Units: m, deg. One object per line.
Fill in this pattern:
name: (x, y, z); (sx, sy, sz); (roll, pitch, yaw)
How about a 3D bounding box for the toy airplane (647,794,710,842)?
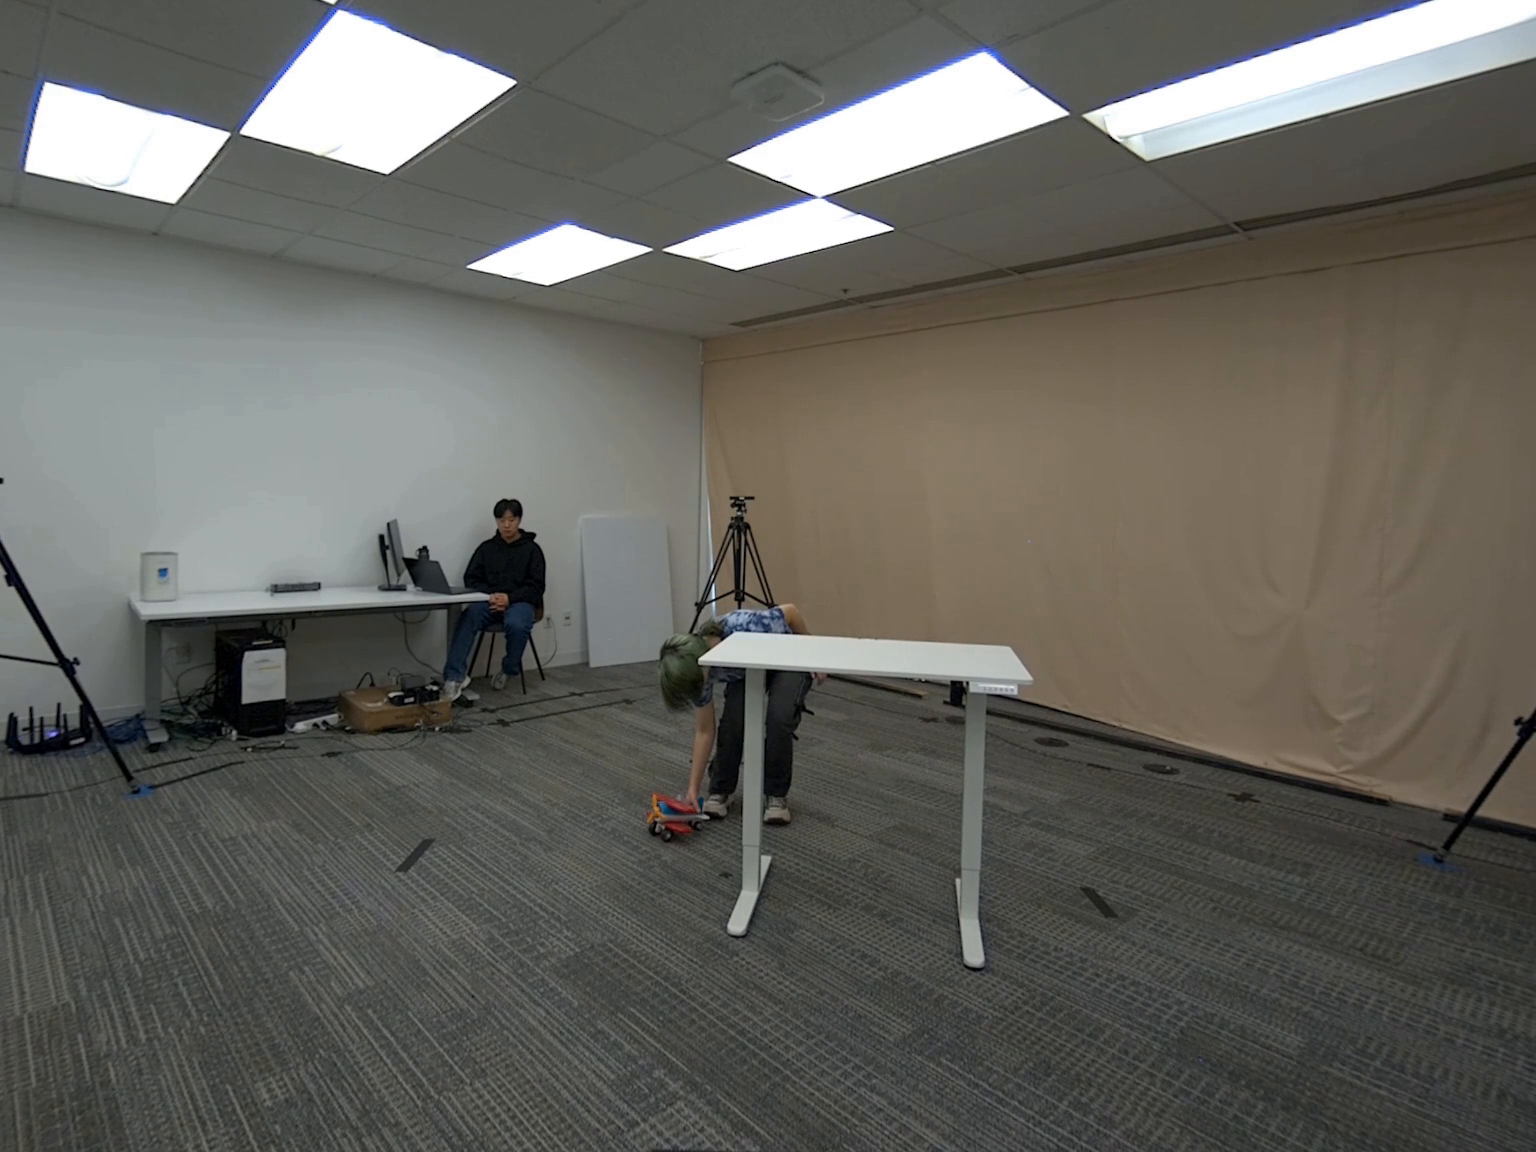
toy airplane: (-0.394, 0.991, 3.491); (0.255, 0.156, 0.256); (3, 7, 20)
